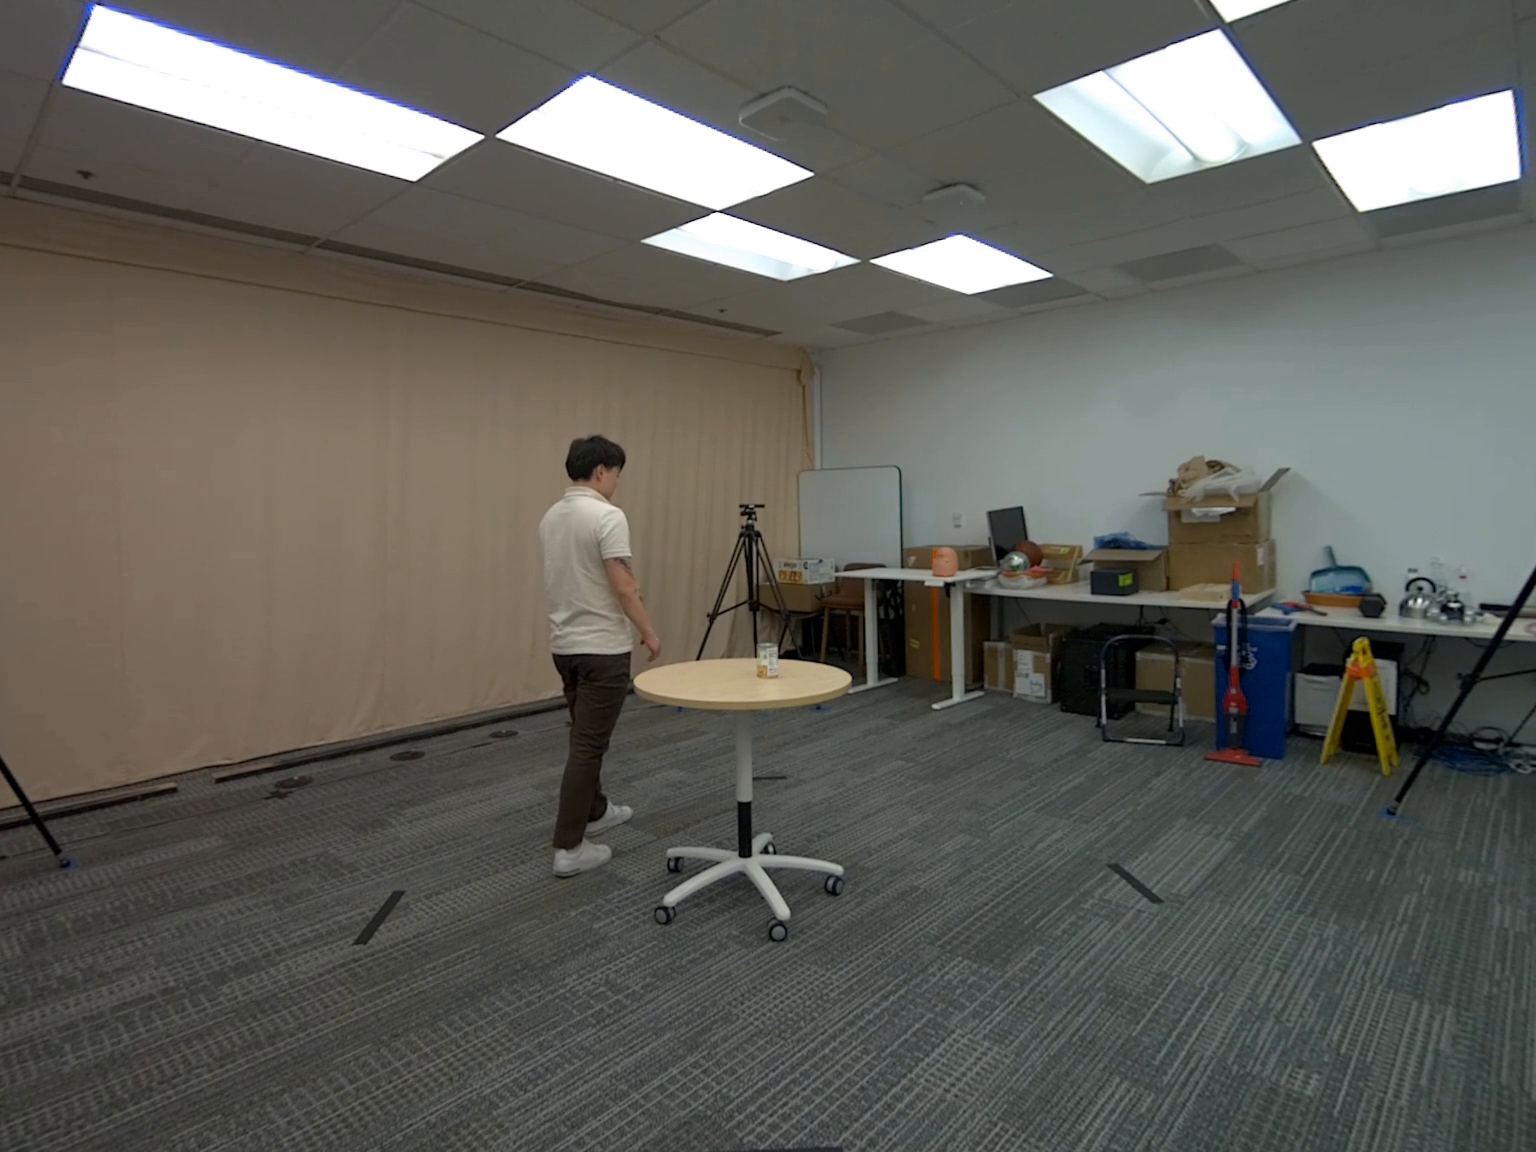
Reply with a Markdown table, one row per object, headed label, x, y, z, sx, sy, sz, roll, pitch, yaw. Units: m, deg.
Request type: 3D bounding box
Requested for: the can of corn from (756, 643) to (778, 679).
| label | x | y | z | sx | sy | sz | roll | pitch | yaw |
| --- | --- | --- | --- | --- | --- | --- | --- | --- | --- |
| can of corn | 0.002 | 0.301 | 2.979 | 0.074 | 0.111 | 0.074 | 1 | 2 | -2 |
